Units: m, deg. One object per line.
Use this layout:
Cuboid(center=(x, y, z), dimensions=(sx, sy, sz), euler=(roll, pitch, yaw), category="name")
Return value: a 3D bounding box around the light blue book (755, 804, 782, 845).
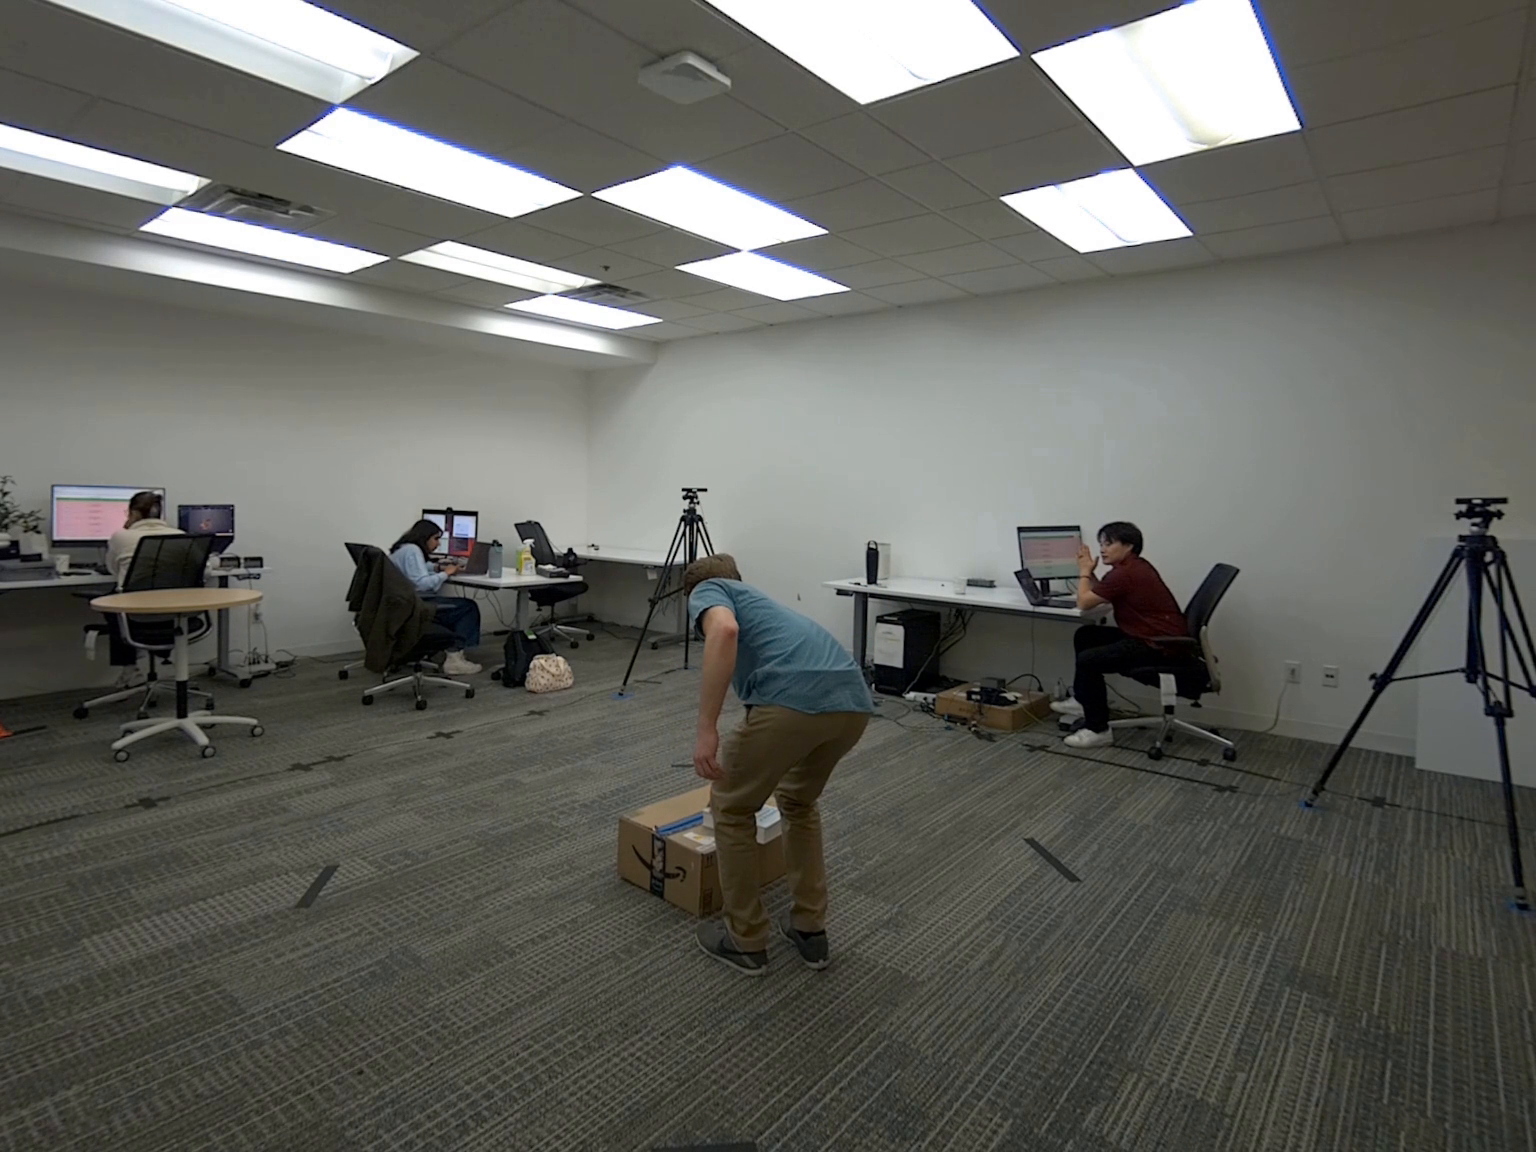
Cuboid(center=(-0.071, 0.842, 2.965), dimensions=(0.269, 0.059, 0.186), euler=(4, 6, 34), category="light blue book")
